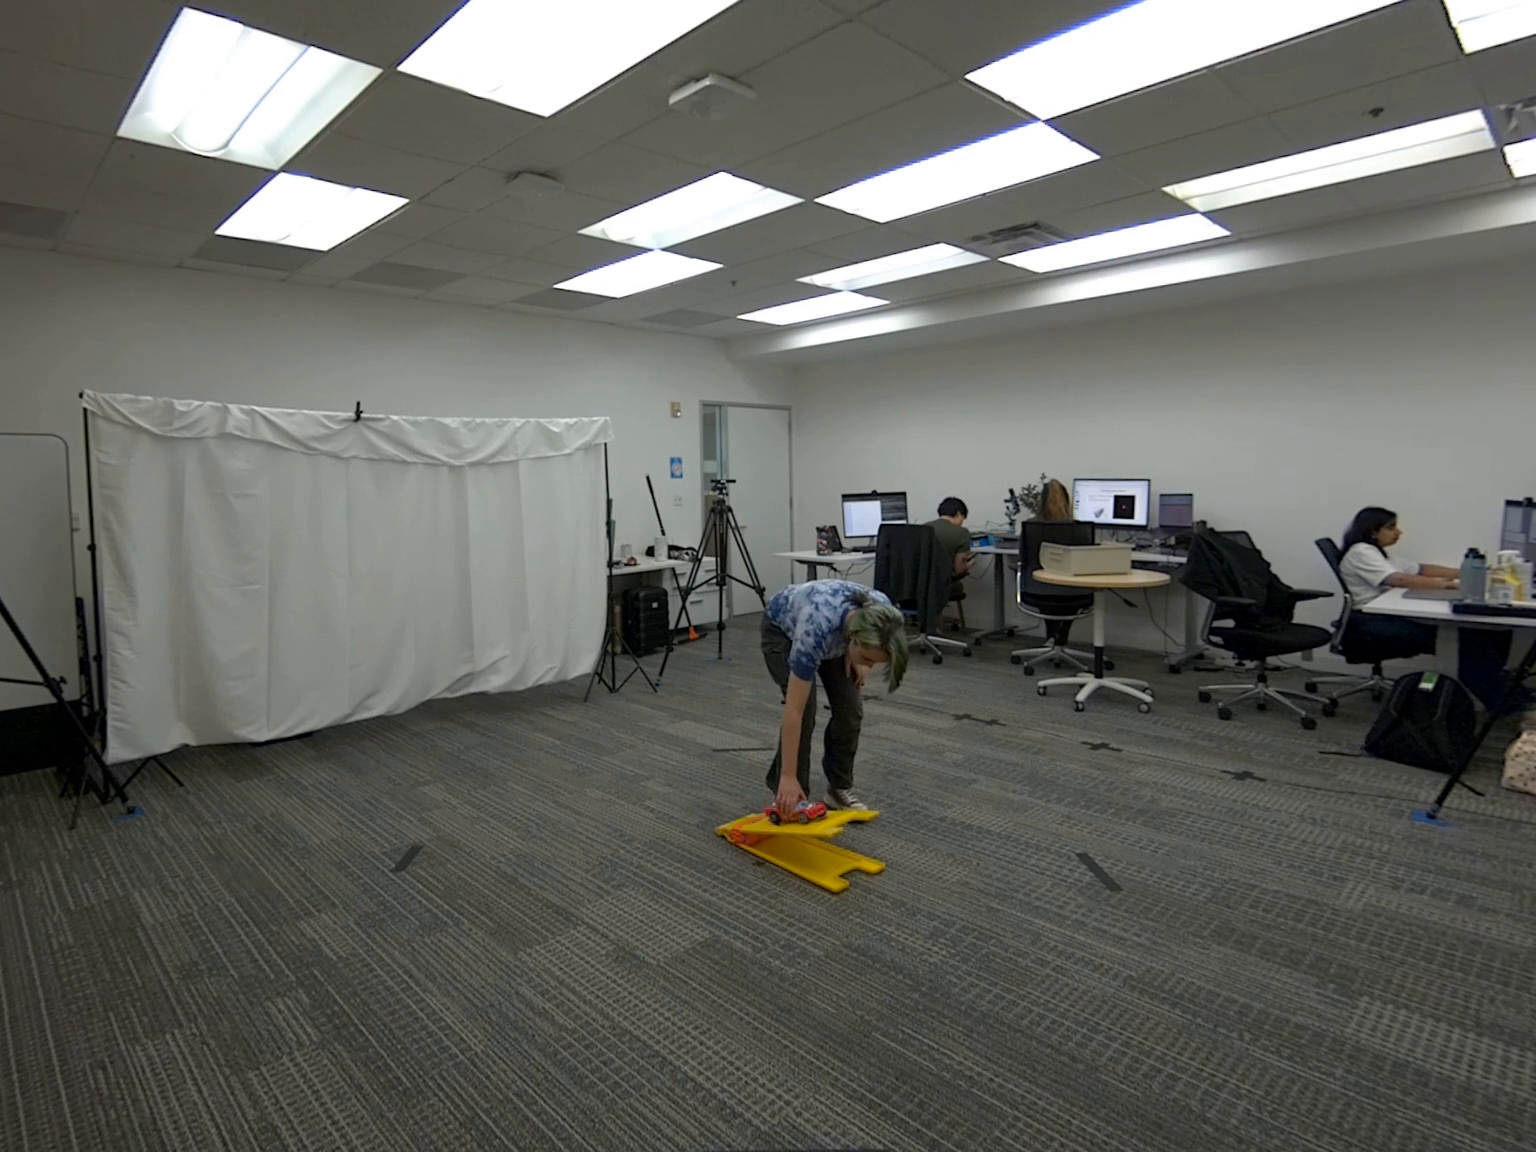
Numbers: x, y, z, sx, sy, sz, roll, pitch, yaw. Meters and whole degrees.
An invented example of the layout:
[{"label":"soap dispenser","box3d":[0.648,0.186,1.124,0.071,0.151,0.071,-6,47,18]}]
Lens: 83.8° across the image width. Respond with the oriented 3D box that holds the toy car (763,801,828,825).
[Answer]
[{"label":"toy car","box3d":[0.102,0.880,3.160,0.127,0.083,0.261,-8,4,-43]}]
